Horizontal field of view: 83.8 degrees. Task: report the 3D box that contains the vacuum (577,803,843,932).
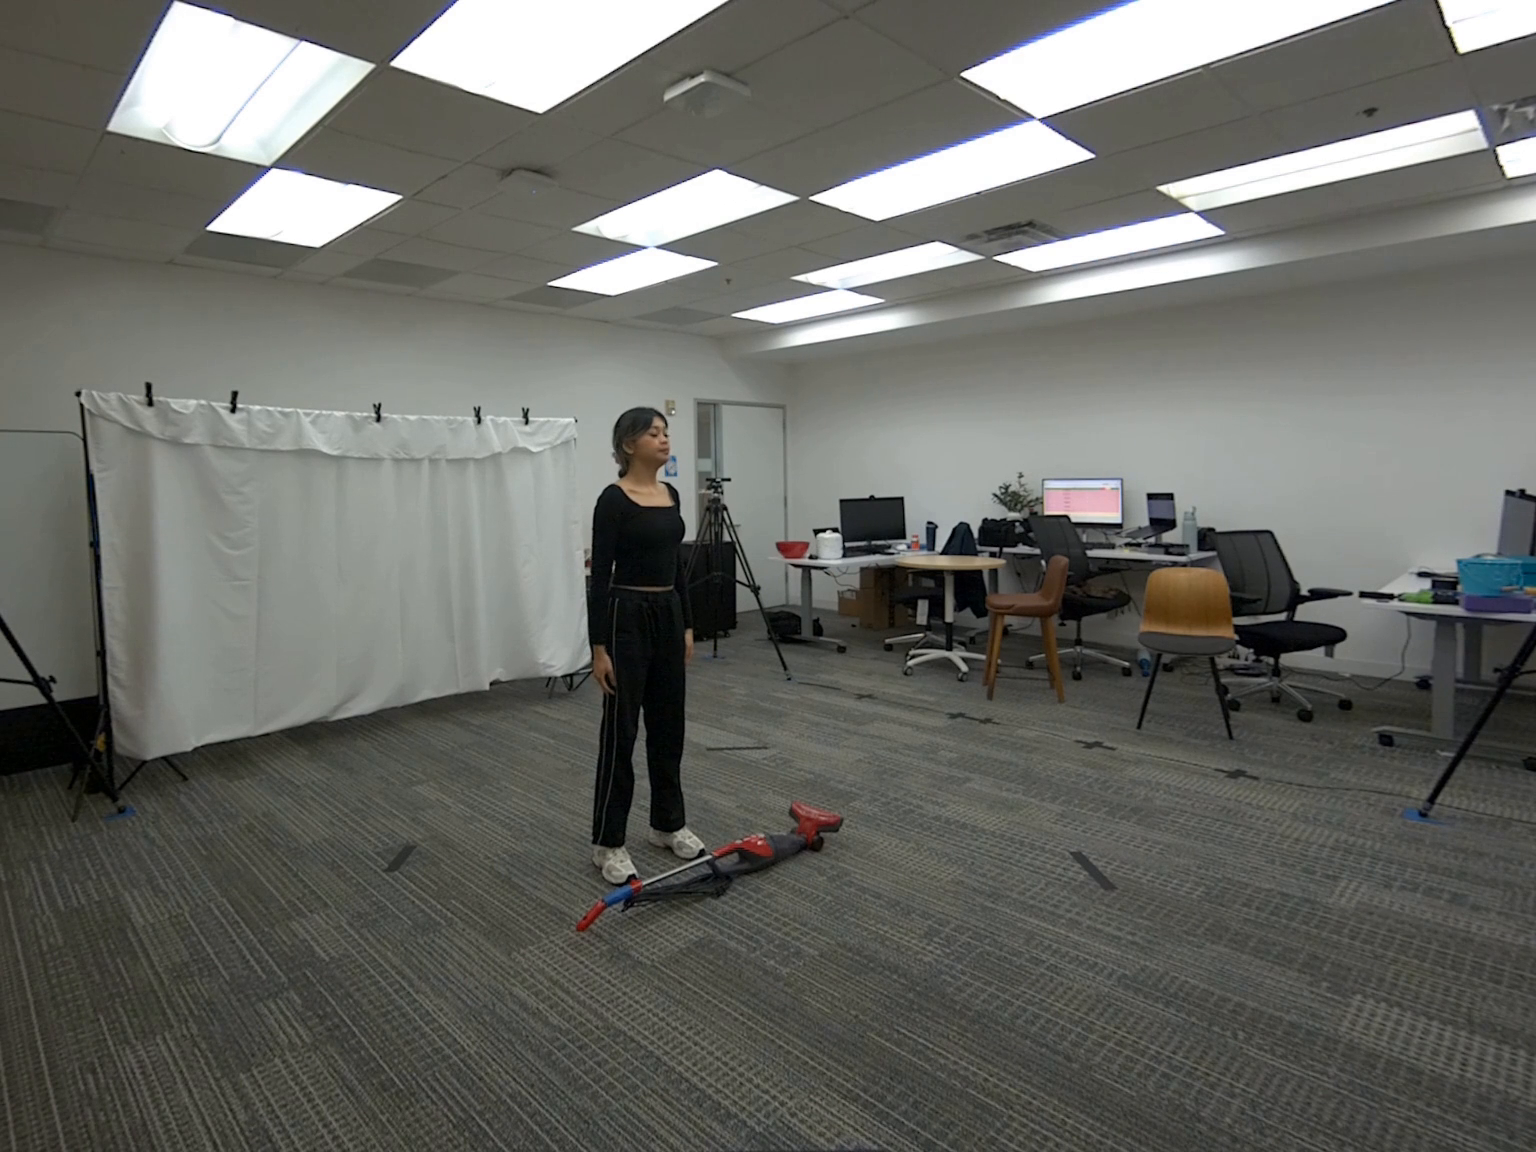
[{"bbox_3d":[-0.189,1.006,2.912,1.023,0.144,0.259,-9,4,-44],"label":"vacuum"}]
